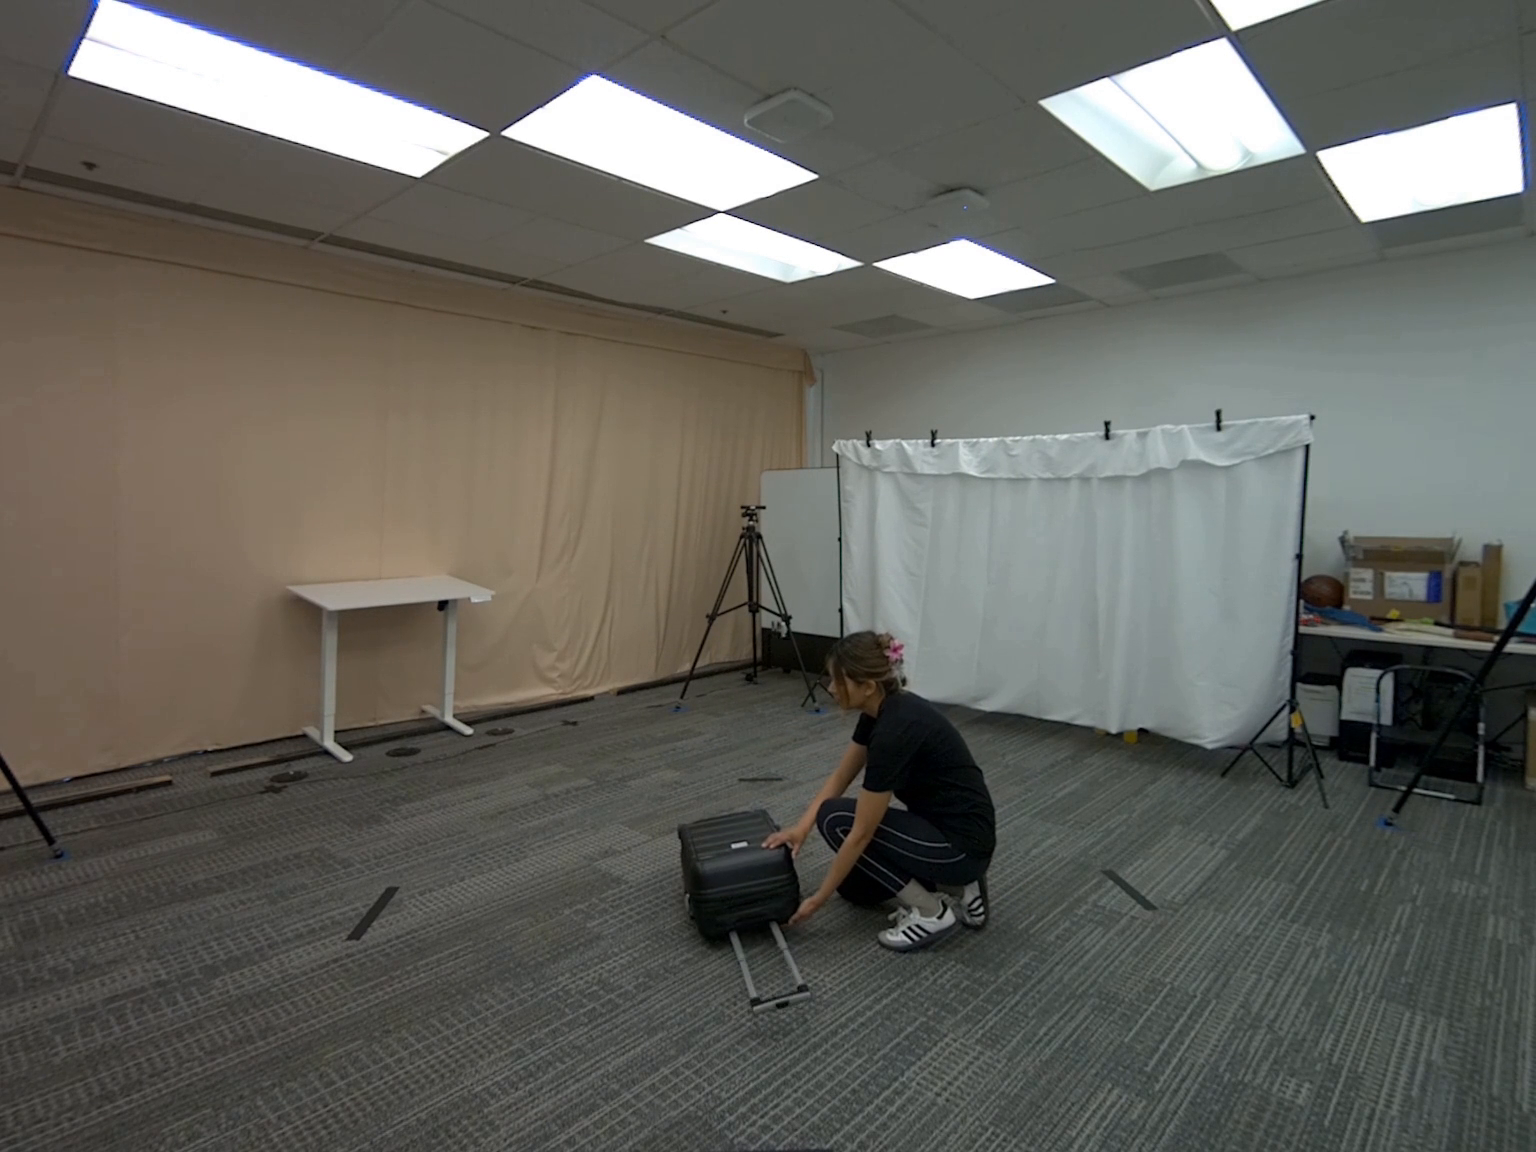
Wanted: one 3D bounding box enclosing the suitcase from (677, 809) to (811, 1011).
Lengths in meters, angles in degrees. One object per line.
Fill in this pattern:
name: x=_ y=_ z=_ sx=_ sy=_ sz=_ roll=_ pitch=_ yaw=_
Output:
suitcase: x=-0.068 y=1.001 z=2.679 sx=0.380 sy=0.257 sz=0.987 roll=-8 pitch=0 yaw=-11
